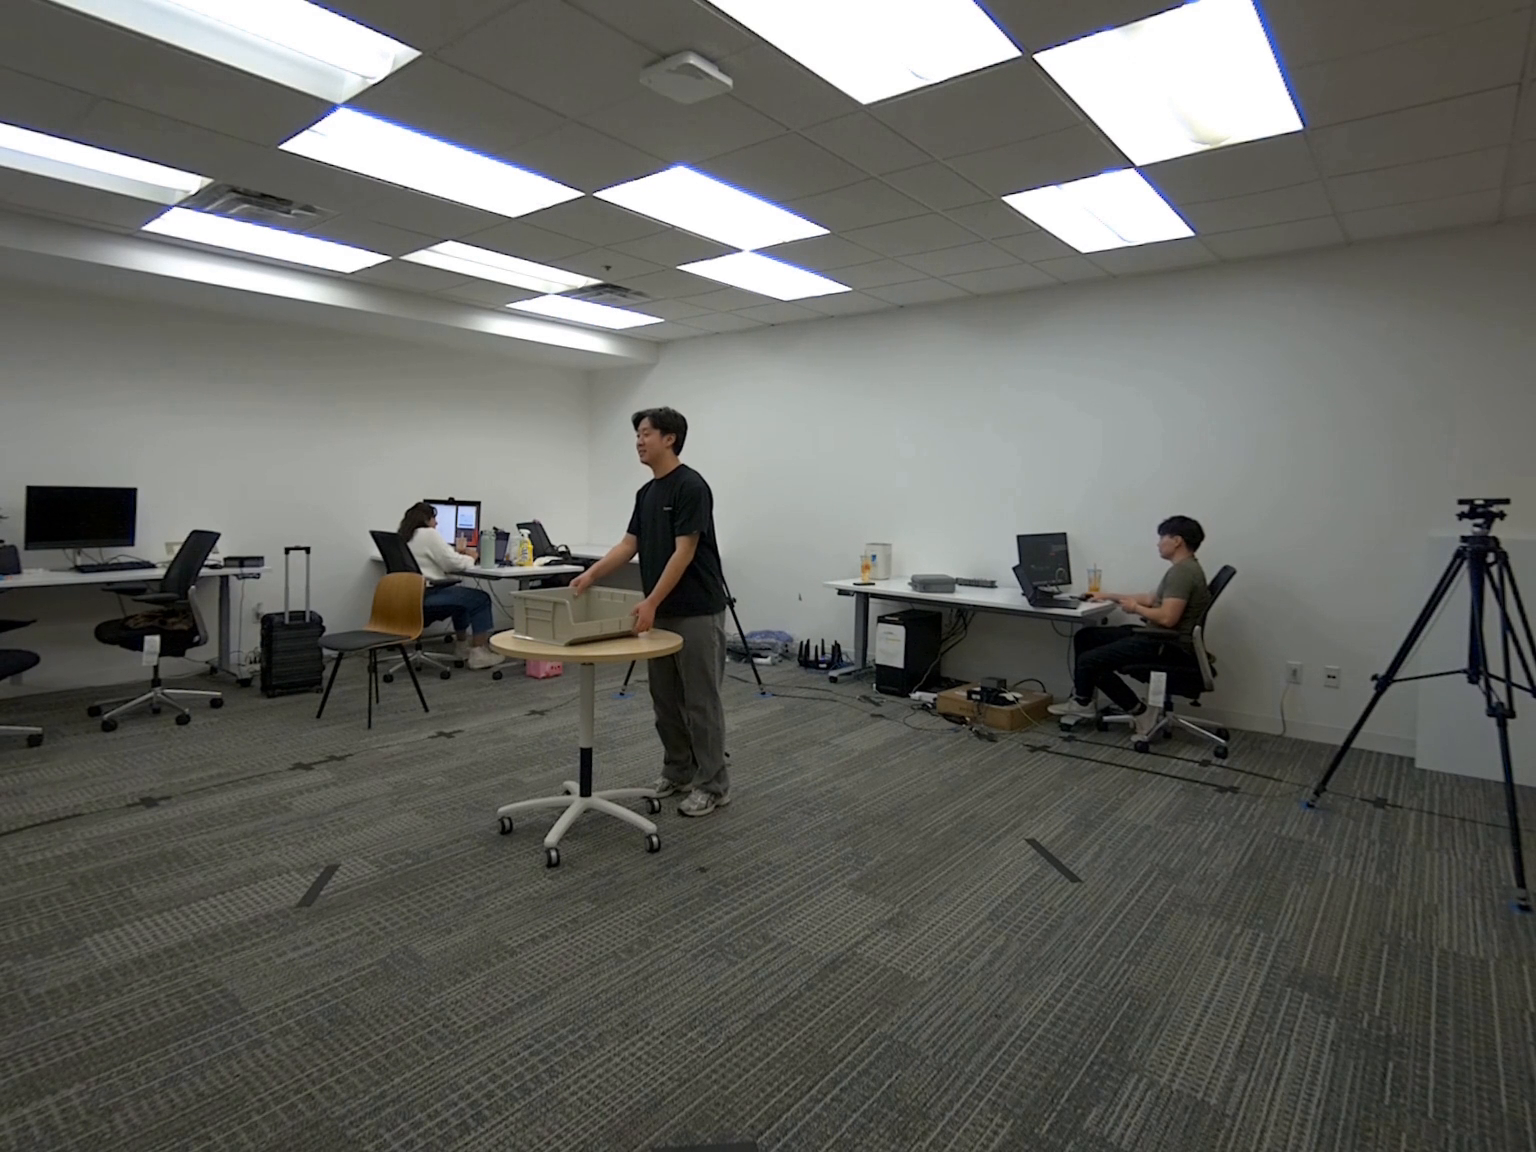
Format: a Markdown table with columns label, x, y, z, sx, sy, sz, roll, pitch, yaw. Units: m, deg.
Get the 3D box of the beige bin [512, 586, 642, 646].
| label | x | y | z | sx | sy | sz | roll | pitch | yaw |
| --- | --- | --- | --- | --- | --- | --- | --- | --- | --- |
| beige bin | -0.771 | 0.155 | 3.447 | 0.390 | 0.188 | 0.410 | 4 | 5 | 38 |
